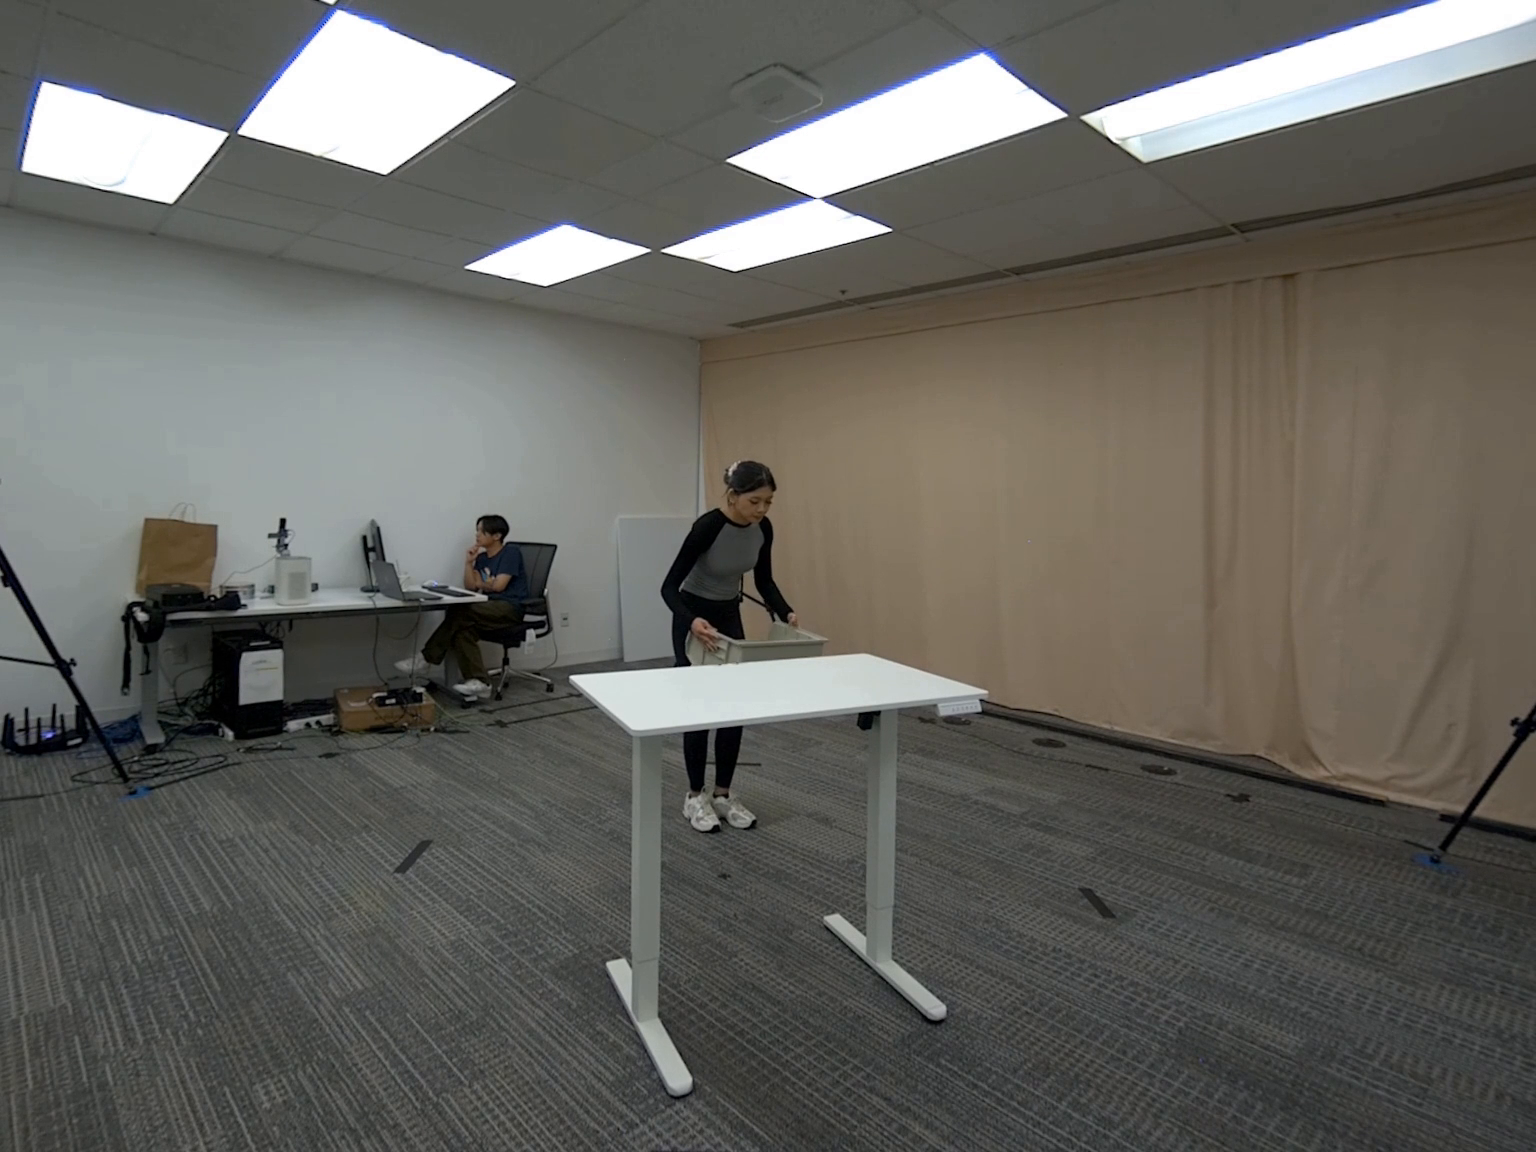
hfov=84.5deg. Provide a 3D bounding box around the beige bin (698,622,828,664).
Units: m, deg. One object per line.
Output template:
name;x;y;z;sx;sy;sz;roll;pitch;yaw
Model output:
beige bin;-0.053;0.302;3.310;0.412;0.188;0.388;1;11;-36
